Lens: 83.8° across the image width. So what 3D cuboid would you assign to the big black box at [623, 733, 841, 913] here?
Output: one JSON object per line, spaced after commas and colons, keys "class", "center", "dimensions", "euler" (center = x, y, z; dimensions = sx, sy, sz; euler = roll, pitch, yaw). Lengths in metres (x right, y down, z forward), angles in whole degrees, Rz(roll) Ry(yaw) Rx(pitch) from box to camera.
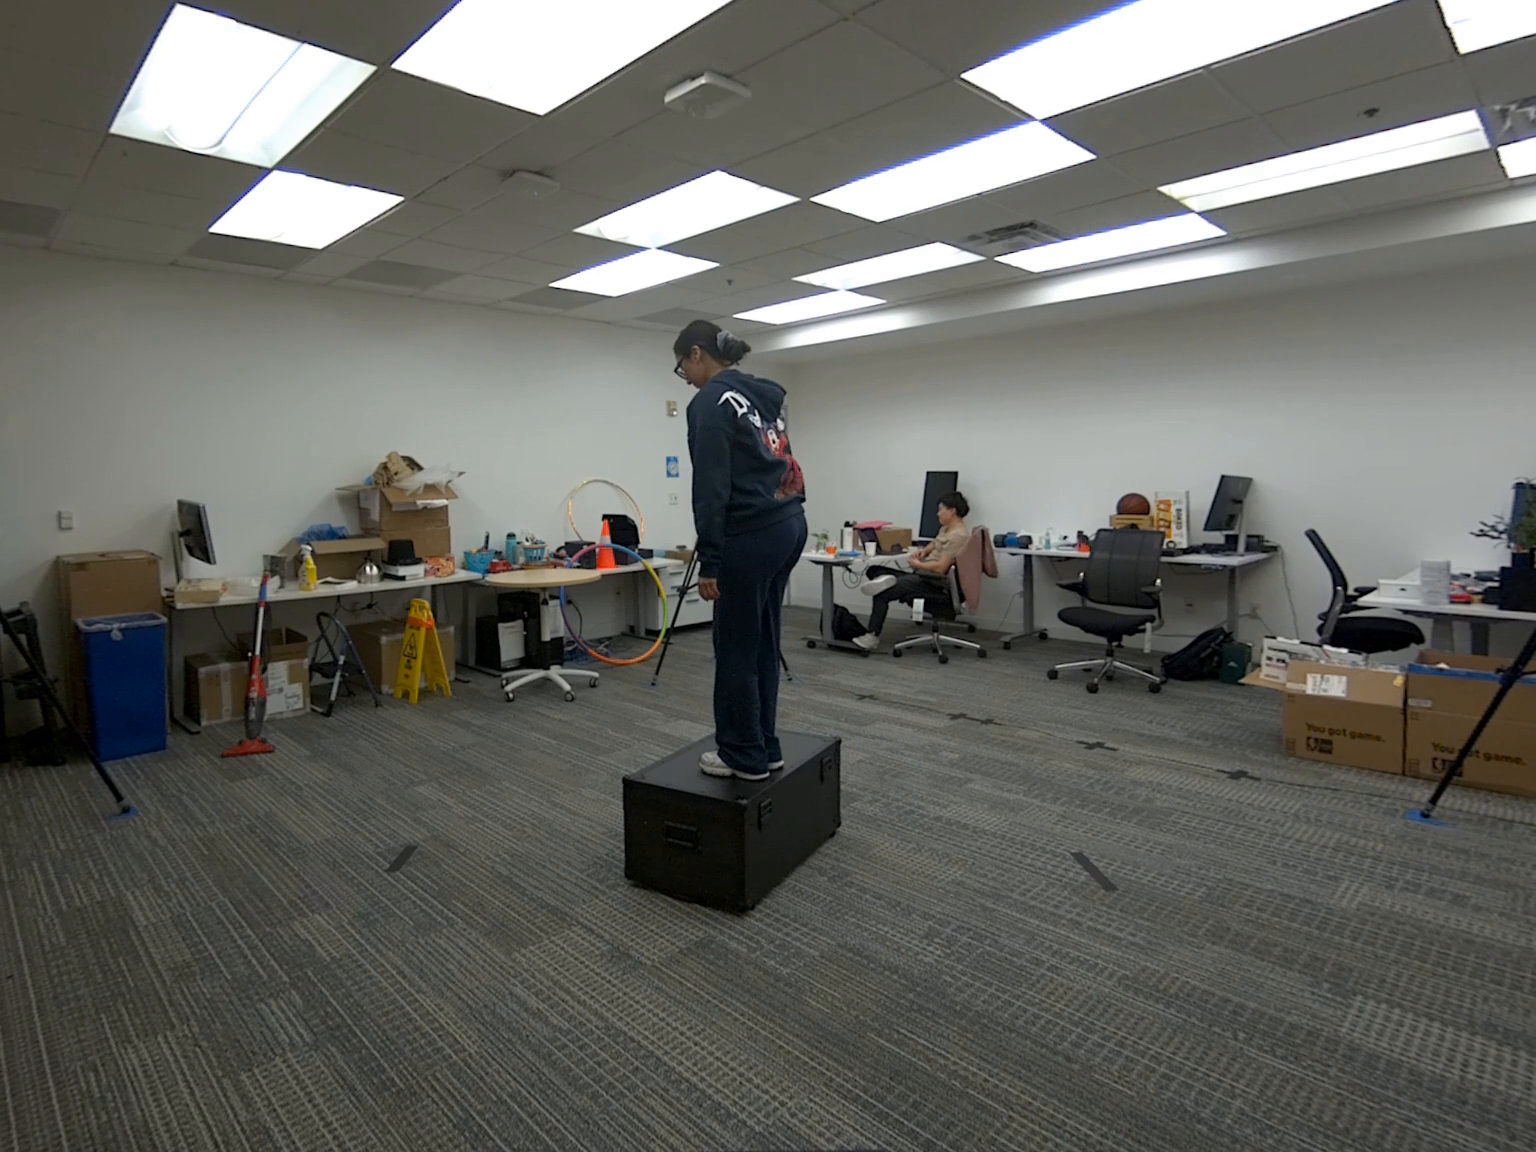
{"class": "big black box", "center": [-0.084, 0.847, 3.181], "dimensions": [0.534, 0.394, 0.844], "euler": [2, 7, 28]}
